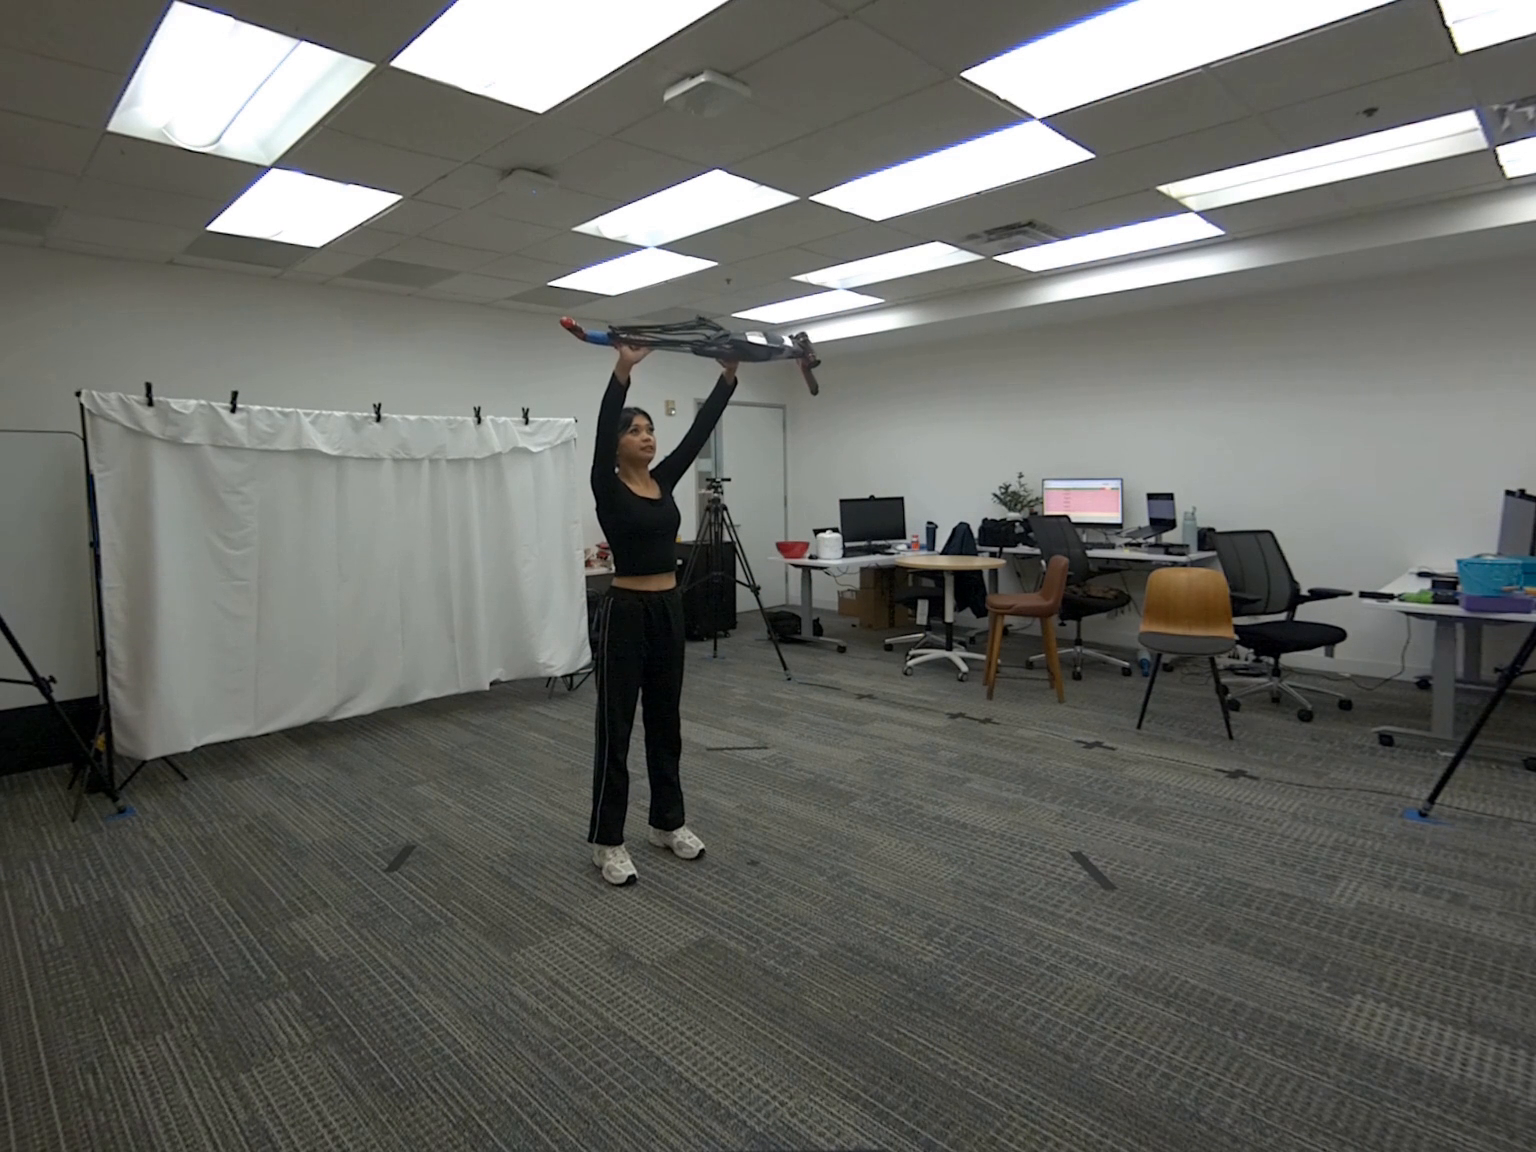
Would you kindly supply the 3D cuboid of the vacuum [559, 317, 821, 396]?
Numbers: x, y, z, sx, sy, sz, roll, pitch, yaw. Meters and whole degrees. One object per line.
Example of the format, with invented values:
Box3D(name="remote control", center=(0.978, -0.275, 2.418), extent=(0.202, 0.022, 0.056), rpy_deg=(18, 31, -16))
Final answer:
Box3D(name="vacuum", center=(-0.213, -0.763, 2.793), extent=(1.021, 0.258, 0.144), rpy_deg=(-5, -27, -45))
